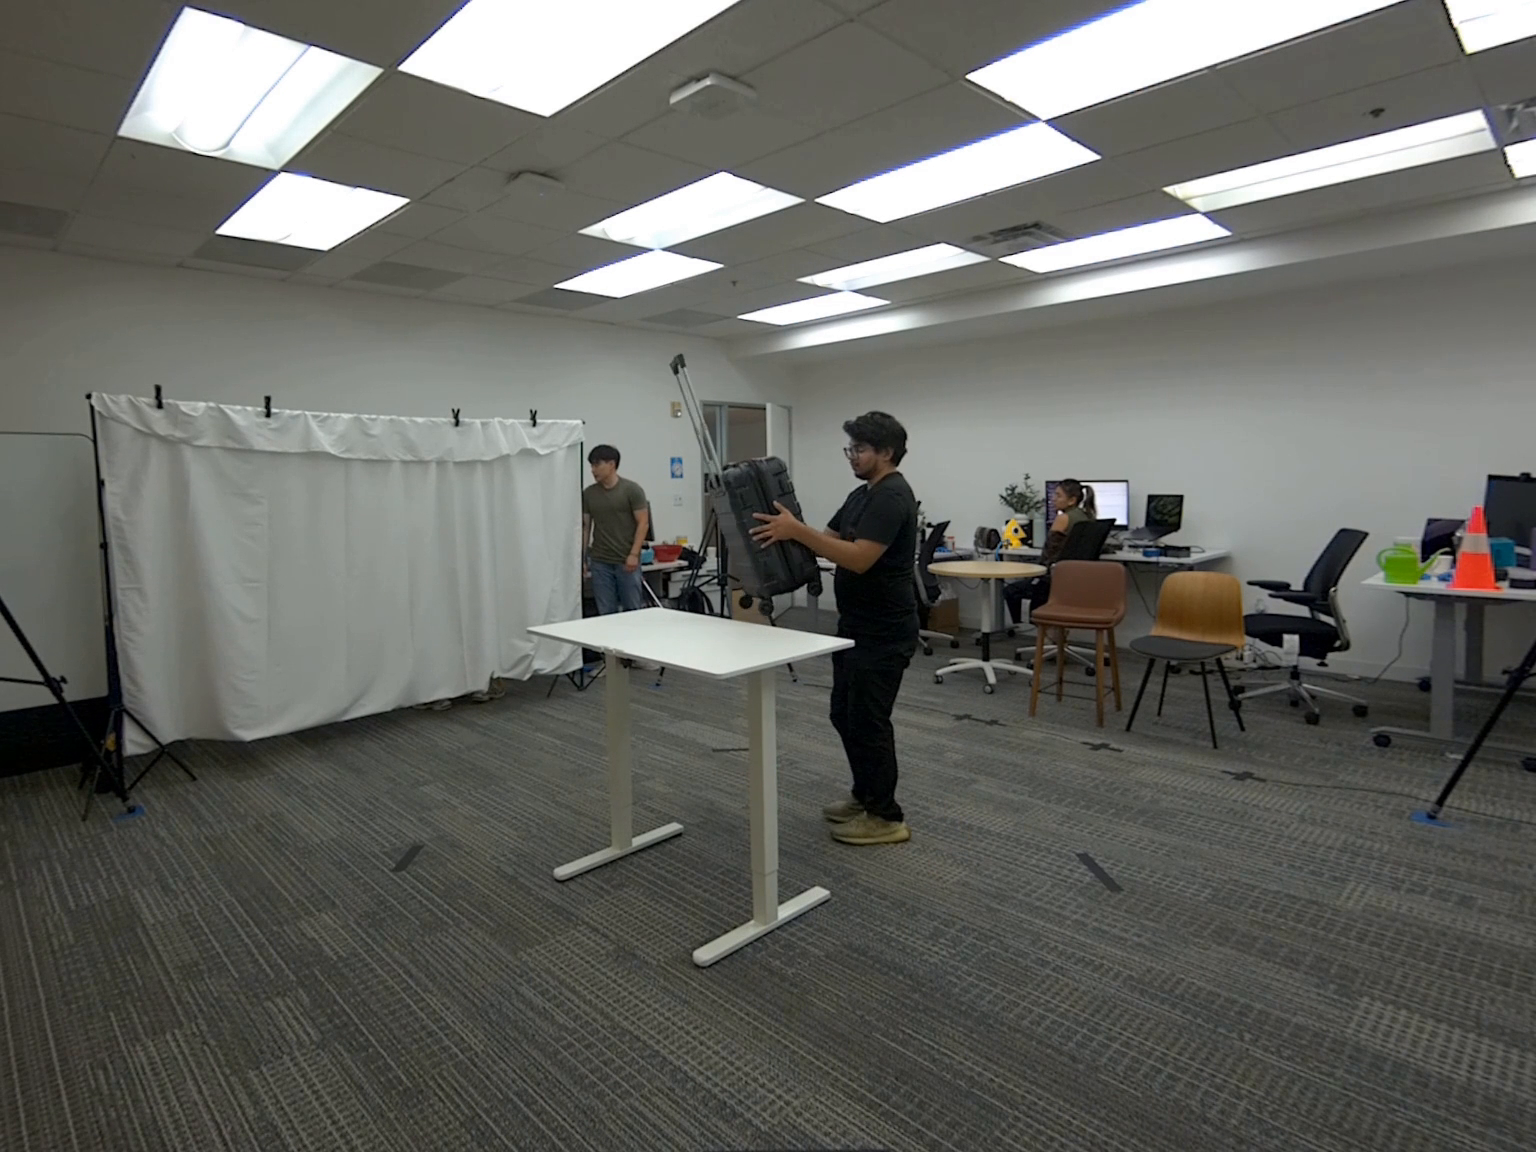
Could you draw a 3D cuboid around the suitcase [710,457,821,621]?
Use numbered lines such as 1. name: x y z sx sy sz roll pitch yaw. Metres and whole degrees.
1. suitcase: -0.074 -0.366 3.191 0.255 0.974 0.389 -17 4 -12
